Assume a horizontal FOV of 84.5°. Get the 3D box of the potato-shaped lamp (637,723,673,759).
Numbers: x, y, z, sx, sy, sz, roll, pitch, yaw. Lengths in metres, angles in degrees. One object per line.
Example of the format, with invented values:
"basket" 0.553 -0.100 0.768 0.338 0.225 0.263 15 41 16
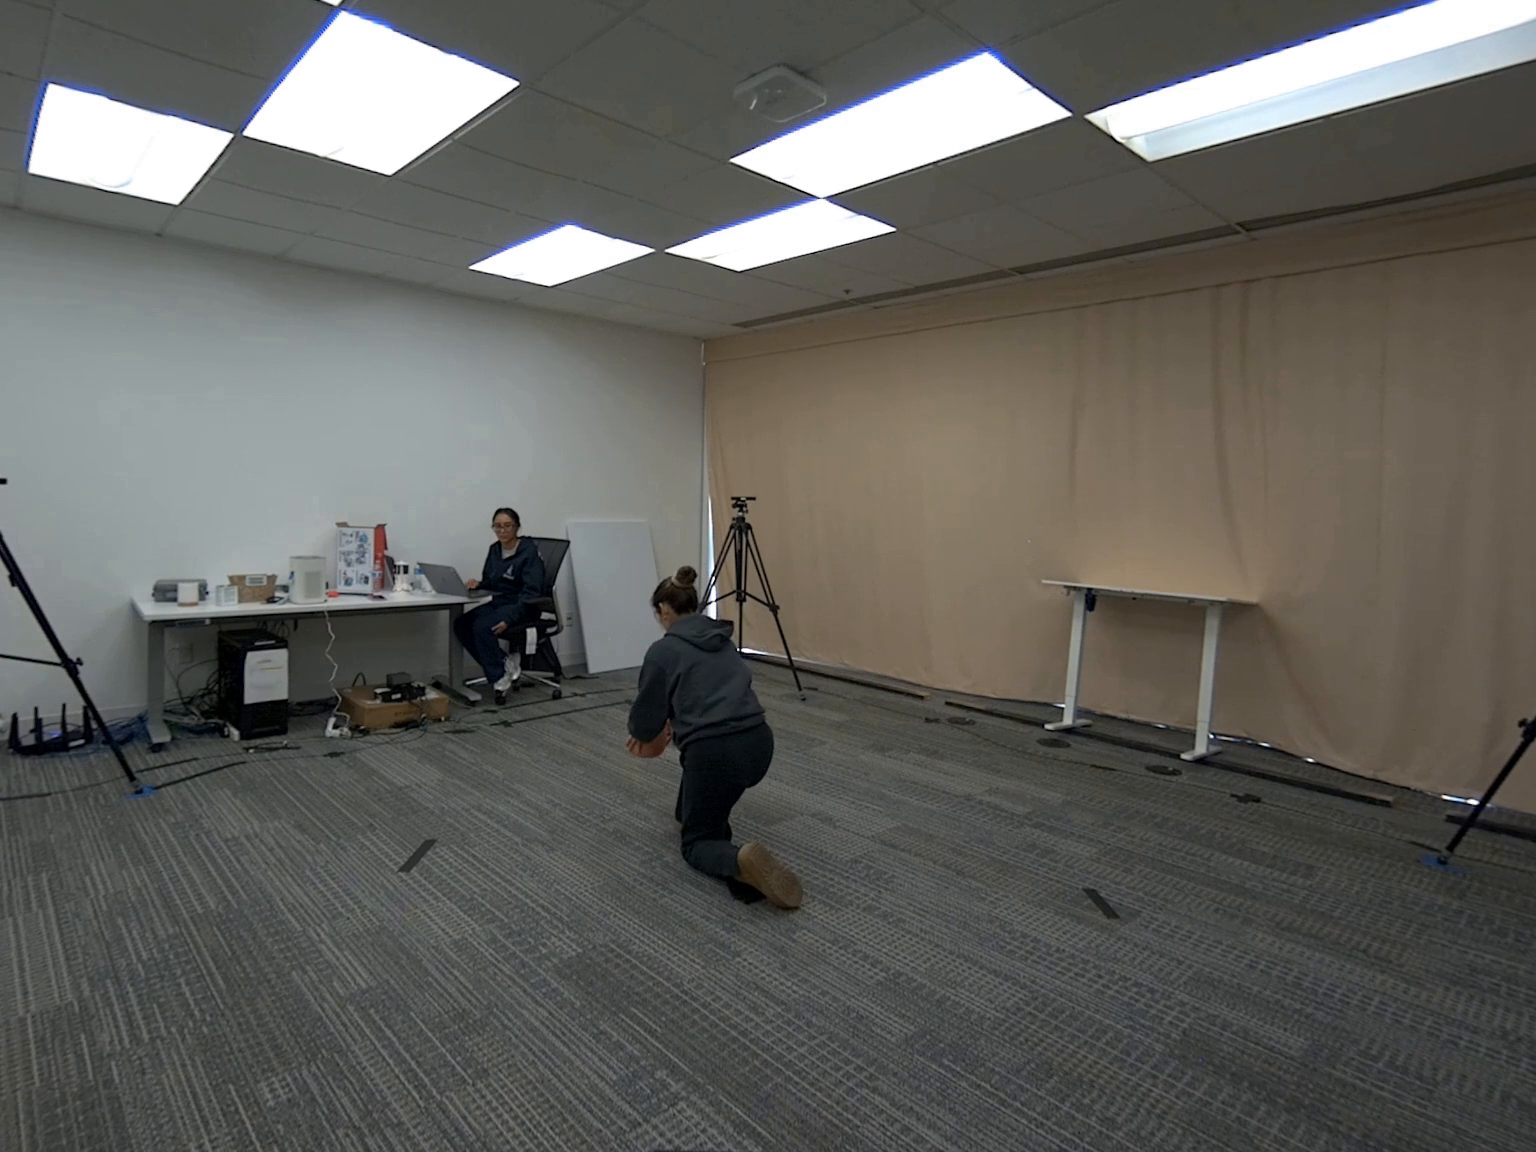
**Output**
"potato-shaped lamp" -0.513 0.670 3.612 0.161 0.197 0.176 3 6 -40
